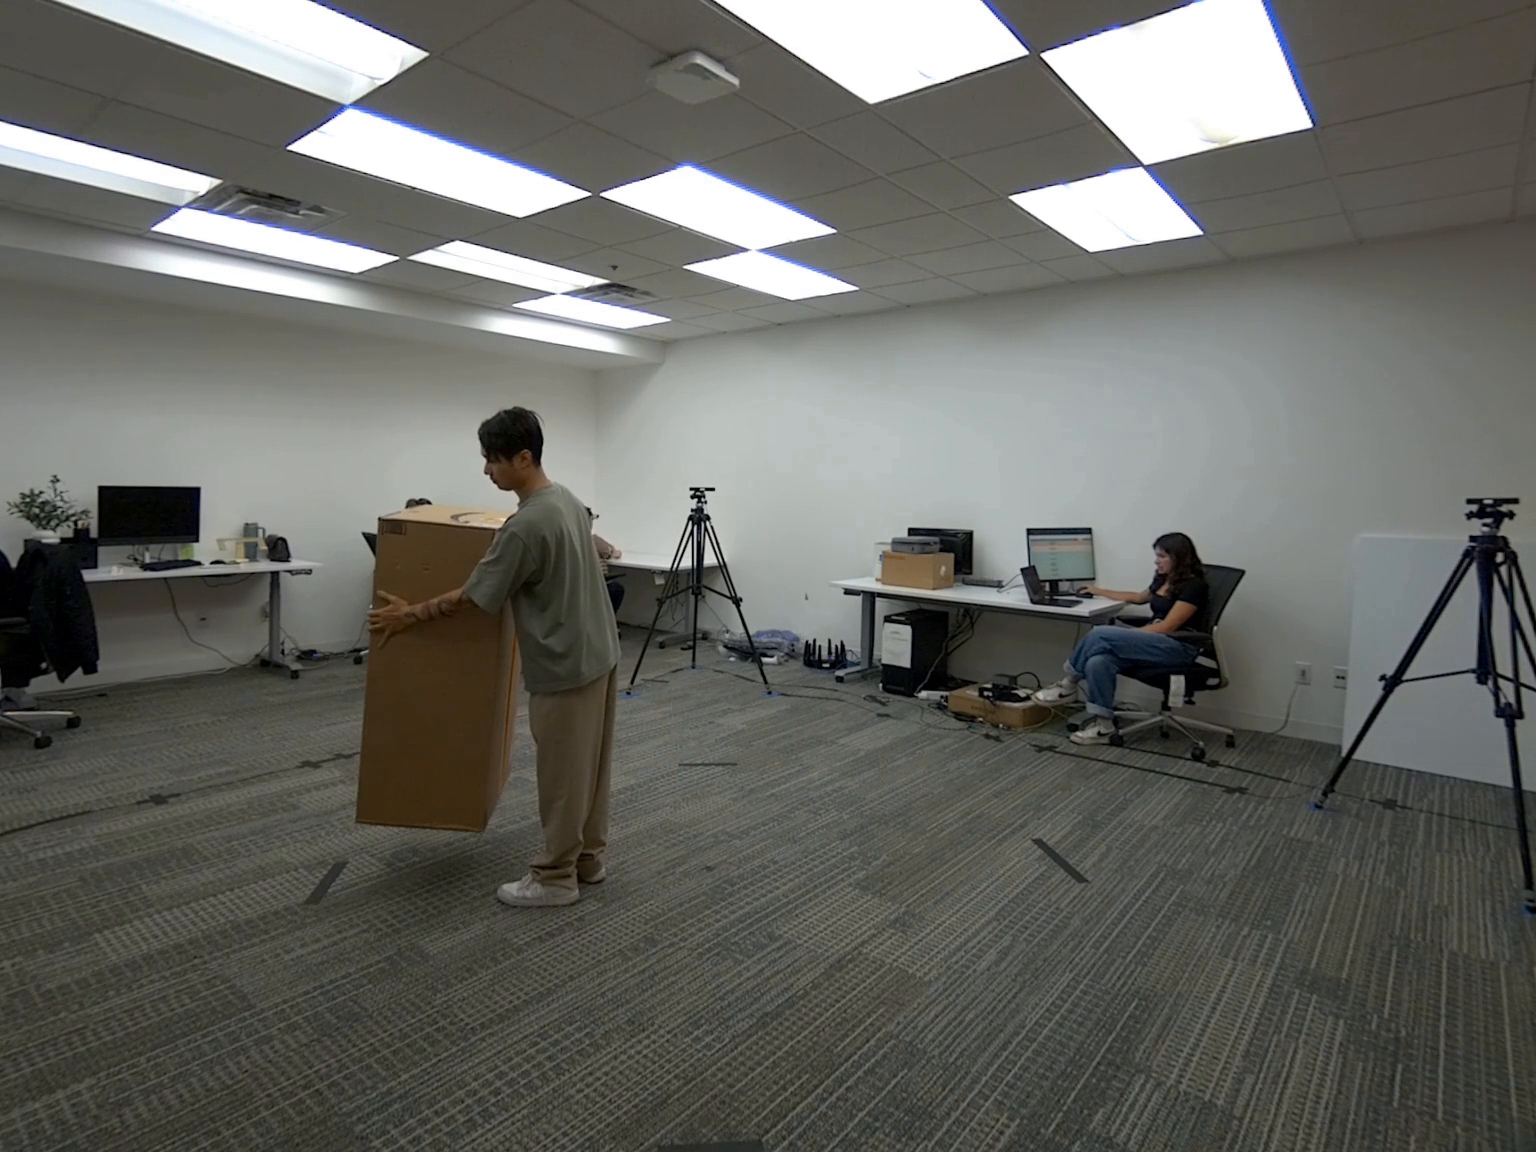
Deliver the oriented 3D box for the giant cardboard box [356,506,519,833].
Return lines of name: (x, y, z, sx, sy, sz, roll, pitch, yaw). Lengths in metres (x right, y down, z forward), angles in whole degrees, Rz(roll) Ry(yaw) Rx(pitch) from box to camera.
giant cardboard box: (-1.147, 0.289, 3.050, 0.423, 1.021, 0.585, 6, 5, -8)
